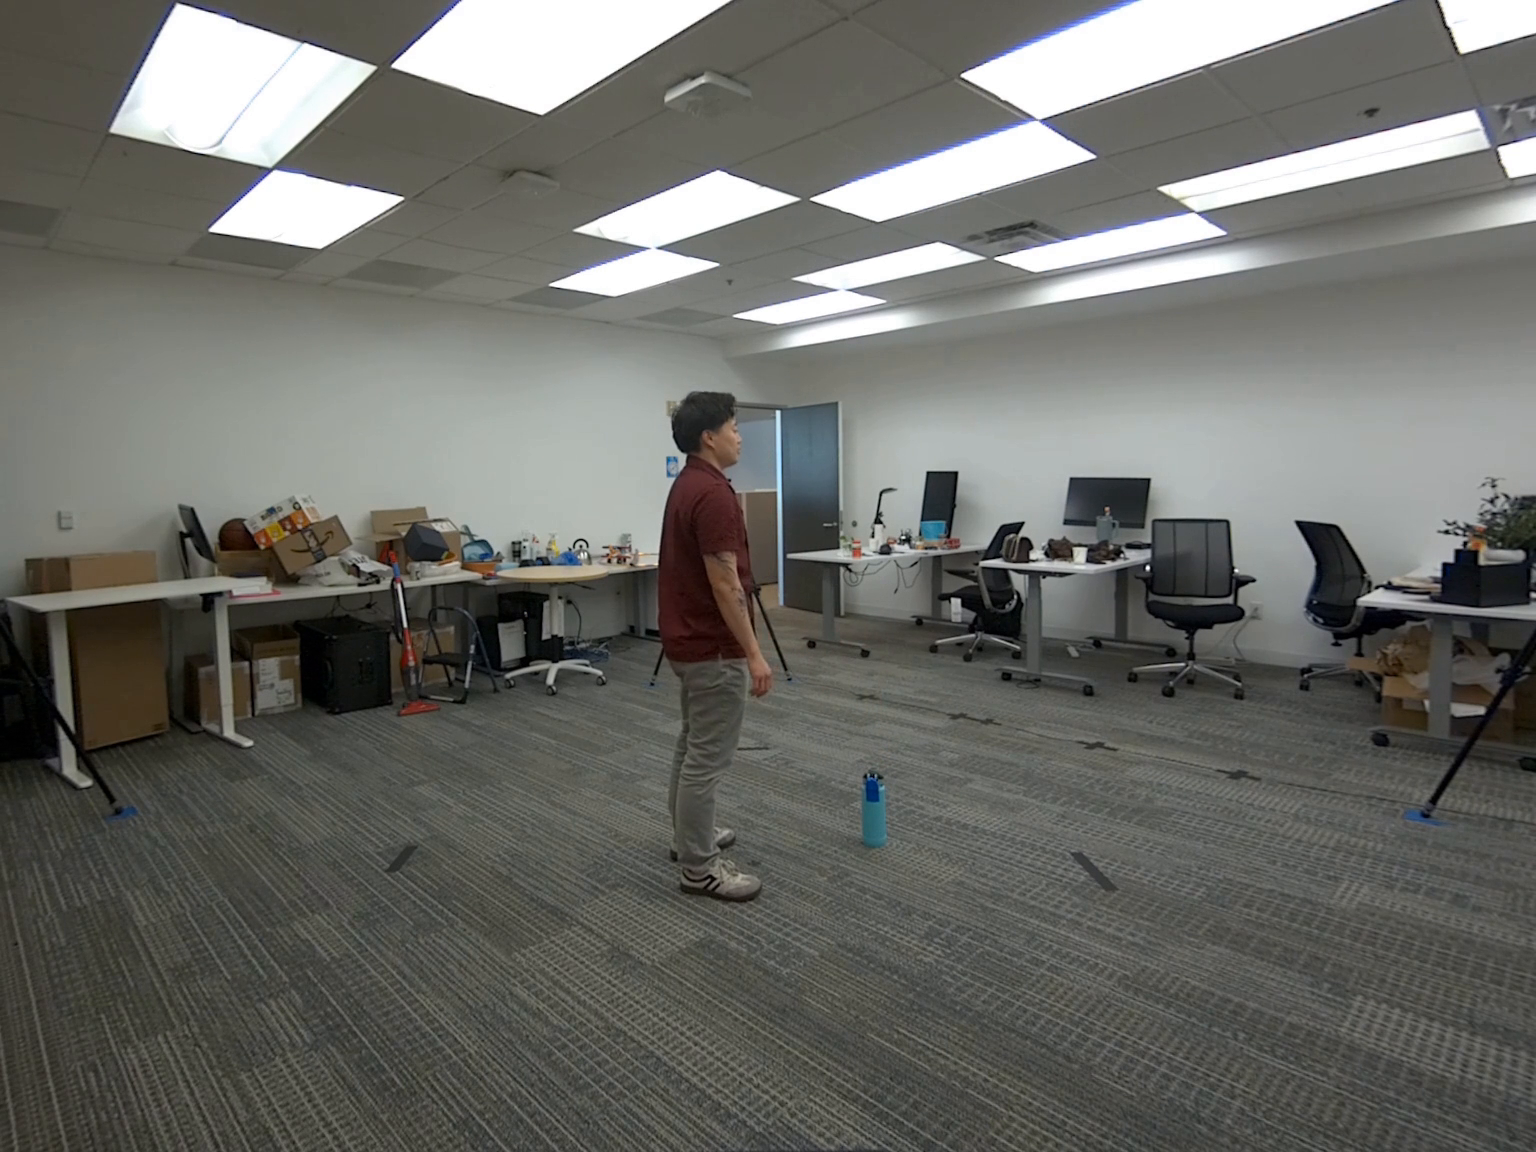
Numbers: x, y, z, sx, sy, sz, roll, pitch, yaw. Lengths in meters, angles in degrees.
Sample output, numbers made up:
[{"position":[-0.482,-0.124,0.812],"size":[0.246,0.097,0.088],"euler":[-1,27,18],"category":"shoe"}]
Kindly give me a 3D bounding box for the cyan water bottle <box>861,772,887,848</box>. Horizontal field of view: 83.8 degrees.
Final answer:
[{"position":[0.406,0.880,3.257],"size":[0.092,0.282,0.093],"euler":[-2,3,-1],"category":"cyan water bottle"}]
